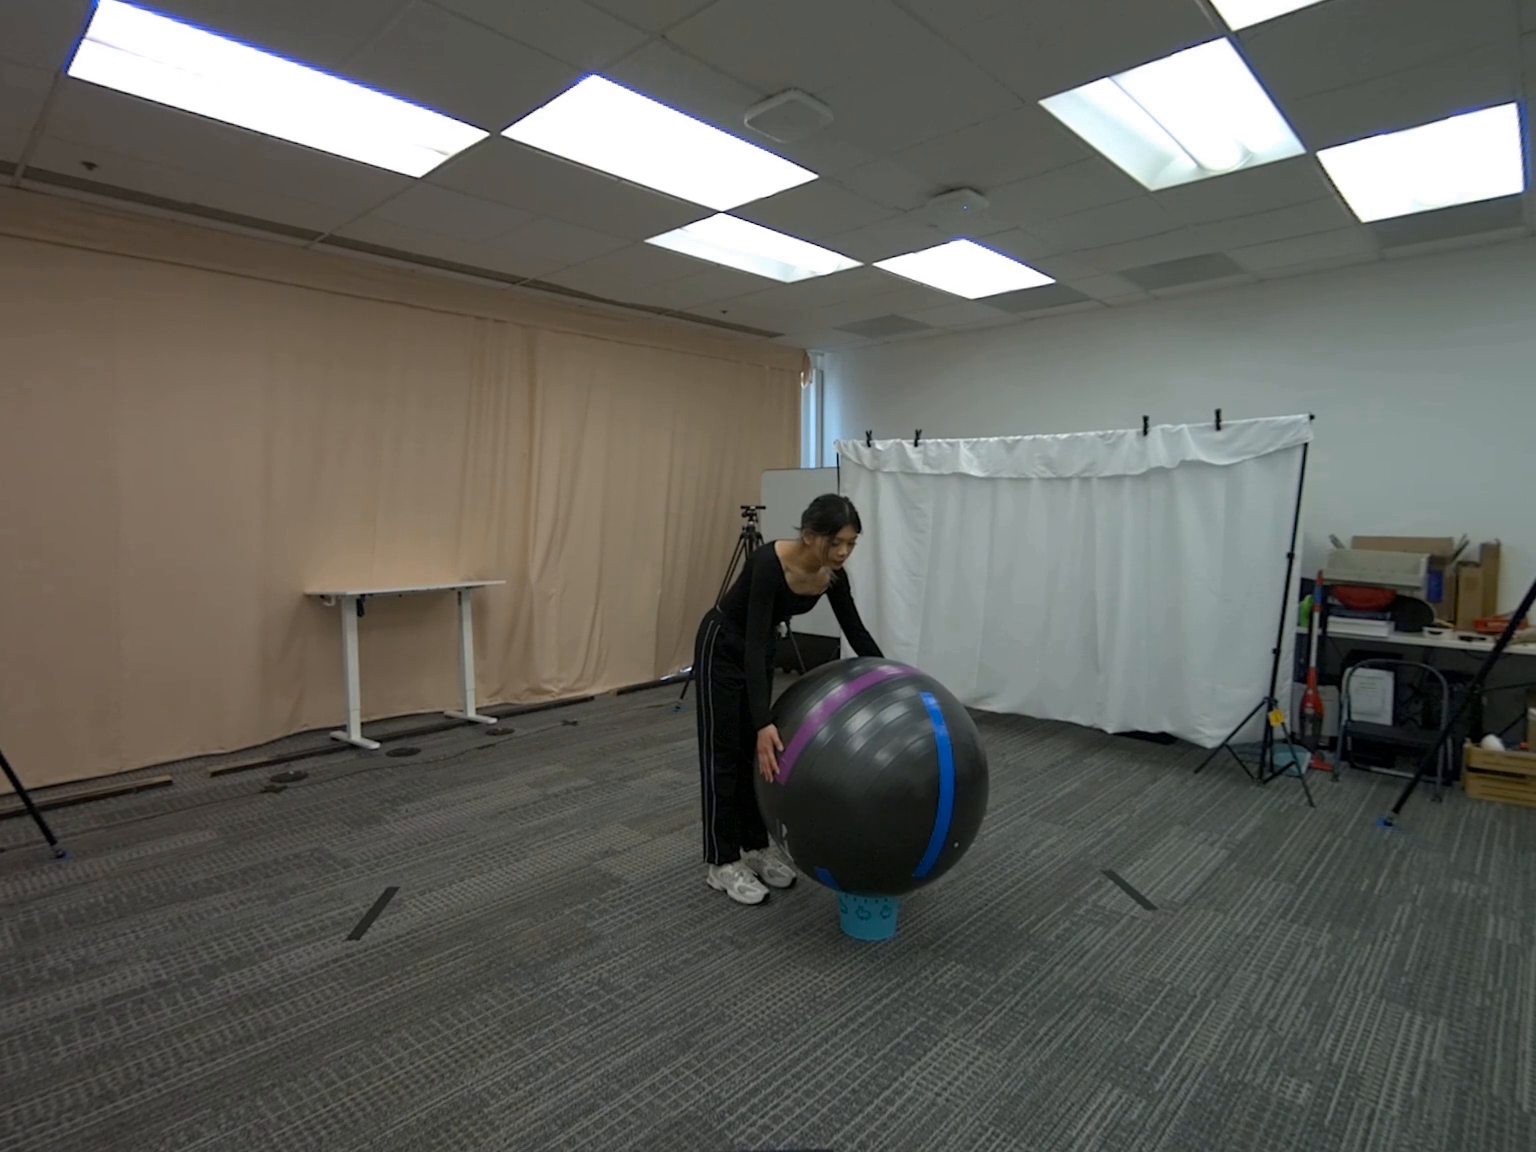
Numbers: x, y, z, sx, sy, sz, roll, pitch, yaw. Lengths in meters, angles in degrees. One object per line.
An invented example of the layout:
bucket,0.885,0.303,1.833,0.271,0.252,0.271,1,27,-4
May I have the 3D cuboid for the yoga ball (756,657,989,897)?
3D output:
yoga ball,0.338,0.647,2.766,0.757,0.756,0.760,0,4,-2
